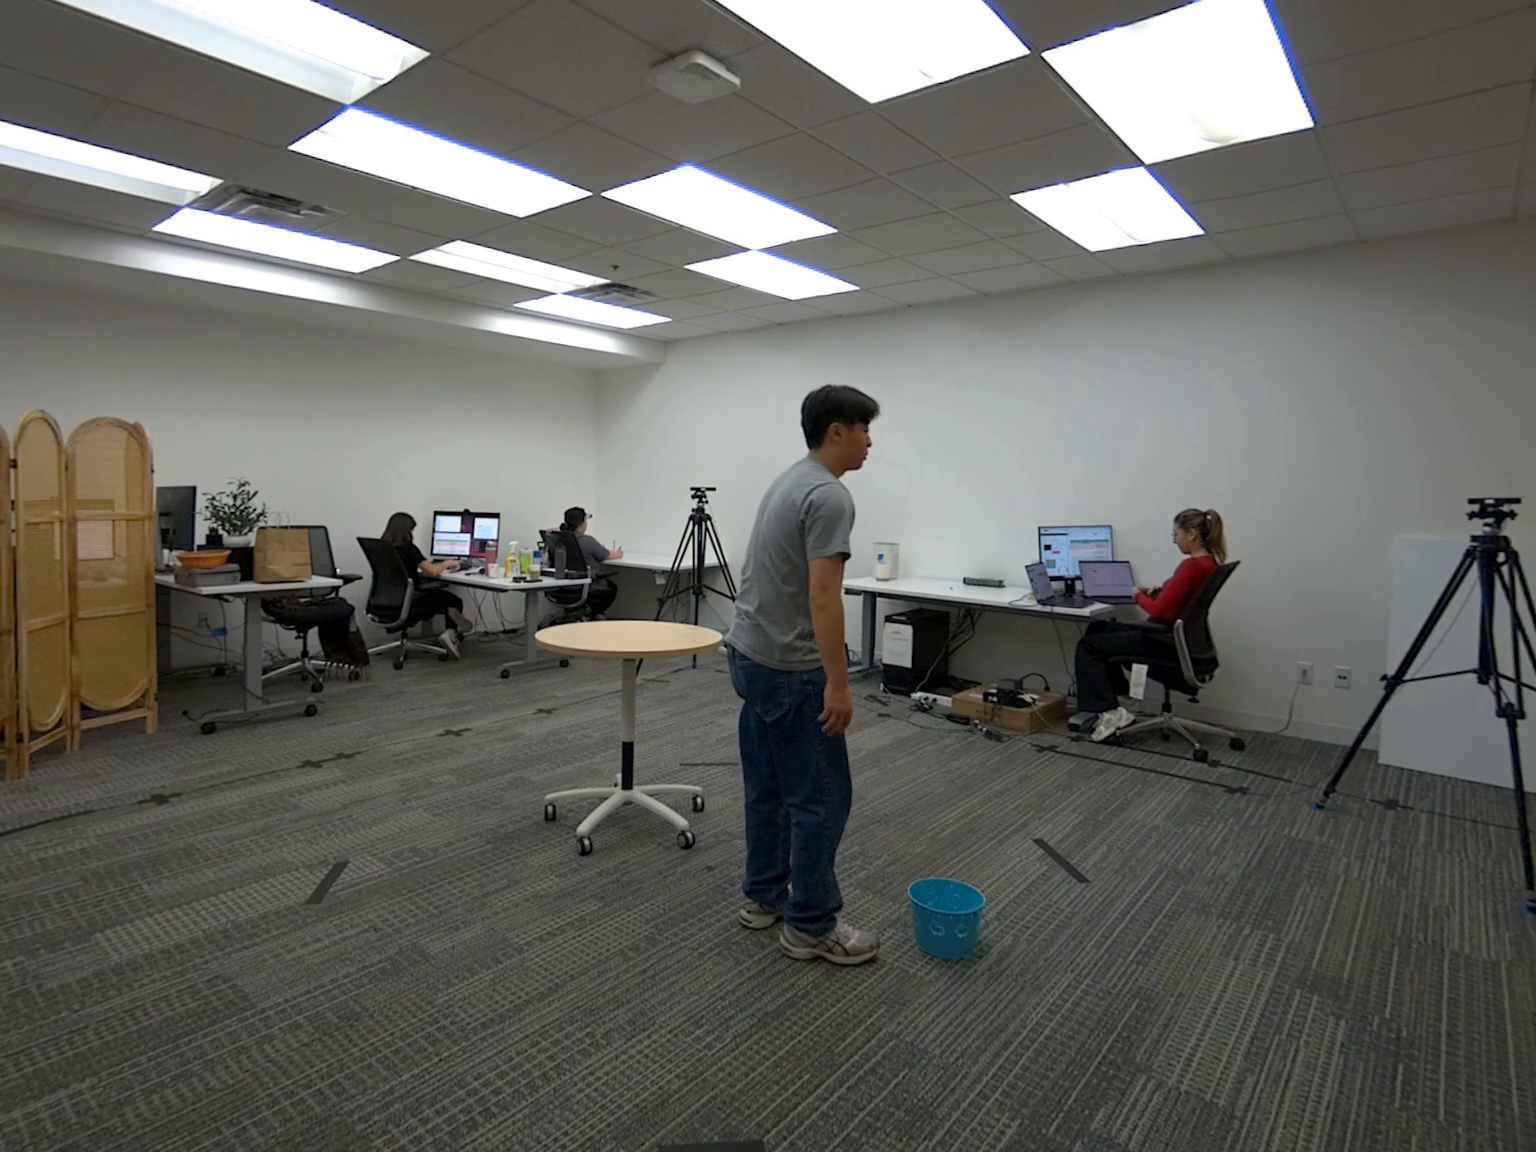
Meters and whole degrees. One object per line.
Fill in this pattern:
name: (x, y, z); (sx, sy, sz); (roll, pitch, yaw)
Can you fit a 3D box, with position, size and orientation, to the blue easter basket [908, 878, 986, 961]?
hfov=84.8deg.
blue easter basket: (0.548, 1.056, 2.616); (0.243, 0.155, 0.245); (1, 5, -2)
